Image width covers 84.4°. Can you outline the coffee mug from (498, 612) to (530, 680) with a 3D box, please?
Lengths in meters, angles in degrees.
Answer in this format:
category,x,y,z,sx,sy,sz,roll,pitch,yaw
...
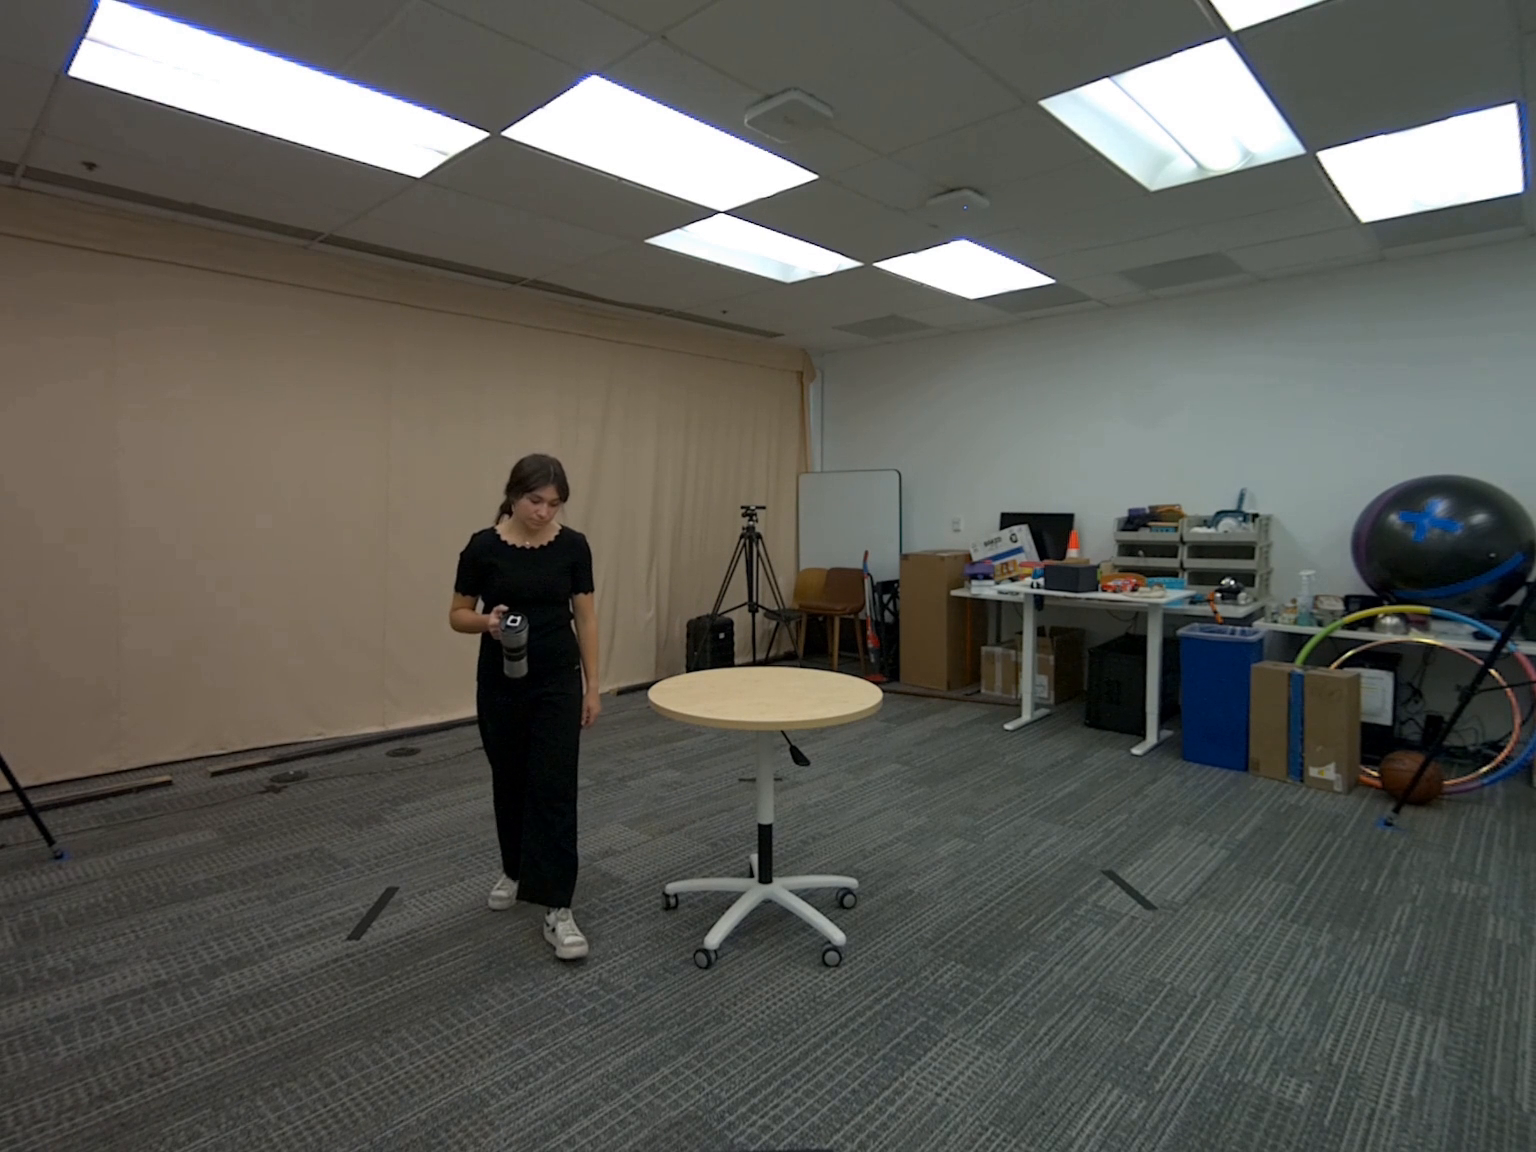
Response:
category,x,y,z,sx,sy,sz,roll,pitch,yaw
coffee mug,-0.790,0.205,2.605,0.086,0.200,0.126,-18,41,-29
